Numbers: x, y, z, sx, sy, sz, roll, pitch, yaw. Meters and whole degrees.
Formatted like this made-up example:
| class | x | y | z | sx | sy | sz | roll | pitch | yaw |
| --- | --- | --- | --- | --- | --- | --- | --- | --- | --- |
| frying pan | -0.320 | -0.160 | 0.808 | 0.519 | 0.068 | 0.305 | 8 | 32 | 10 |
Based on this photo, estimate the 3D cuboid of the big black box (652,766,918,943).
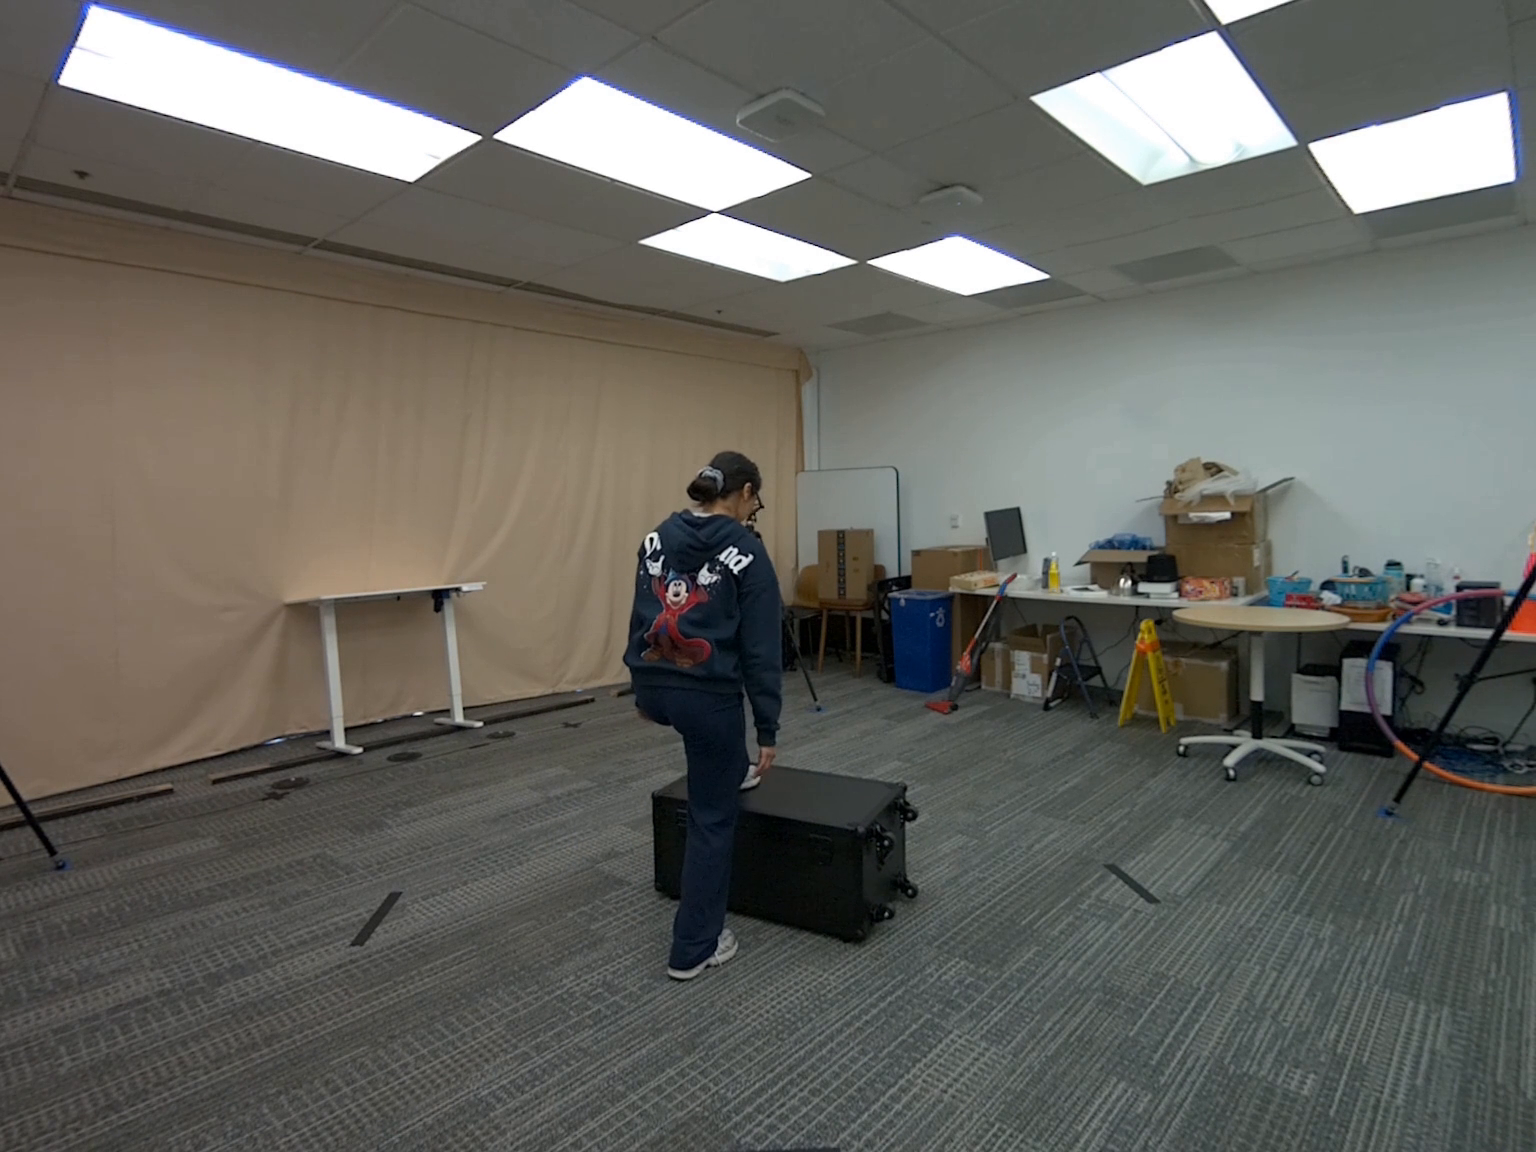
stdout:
| class | x | y | z | sx | sy | sz | roll | pitch | yaw |
| --- | --- | --- | --- | --- | --- | --- | --- | --- | --- |
| big black box | 0.078 | 0.950 | 3.002 | 0.884 | 0.395 | 0.508 | 1 | 4 | 27 |
